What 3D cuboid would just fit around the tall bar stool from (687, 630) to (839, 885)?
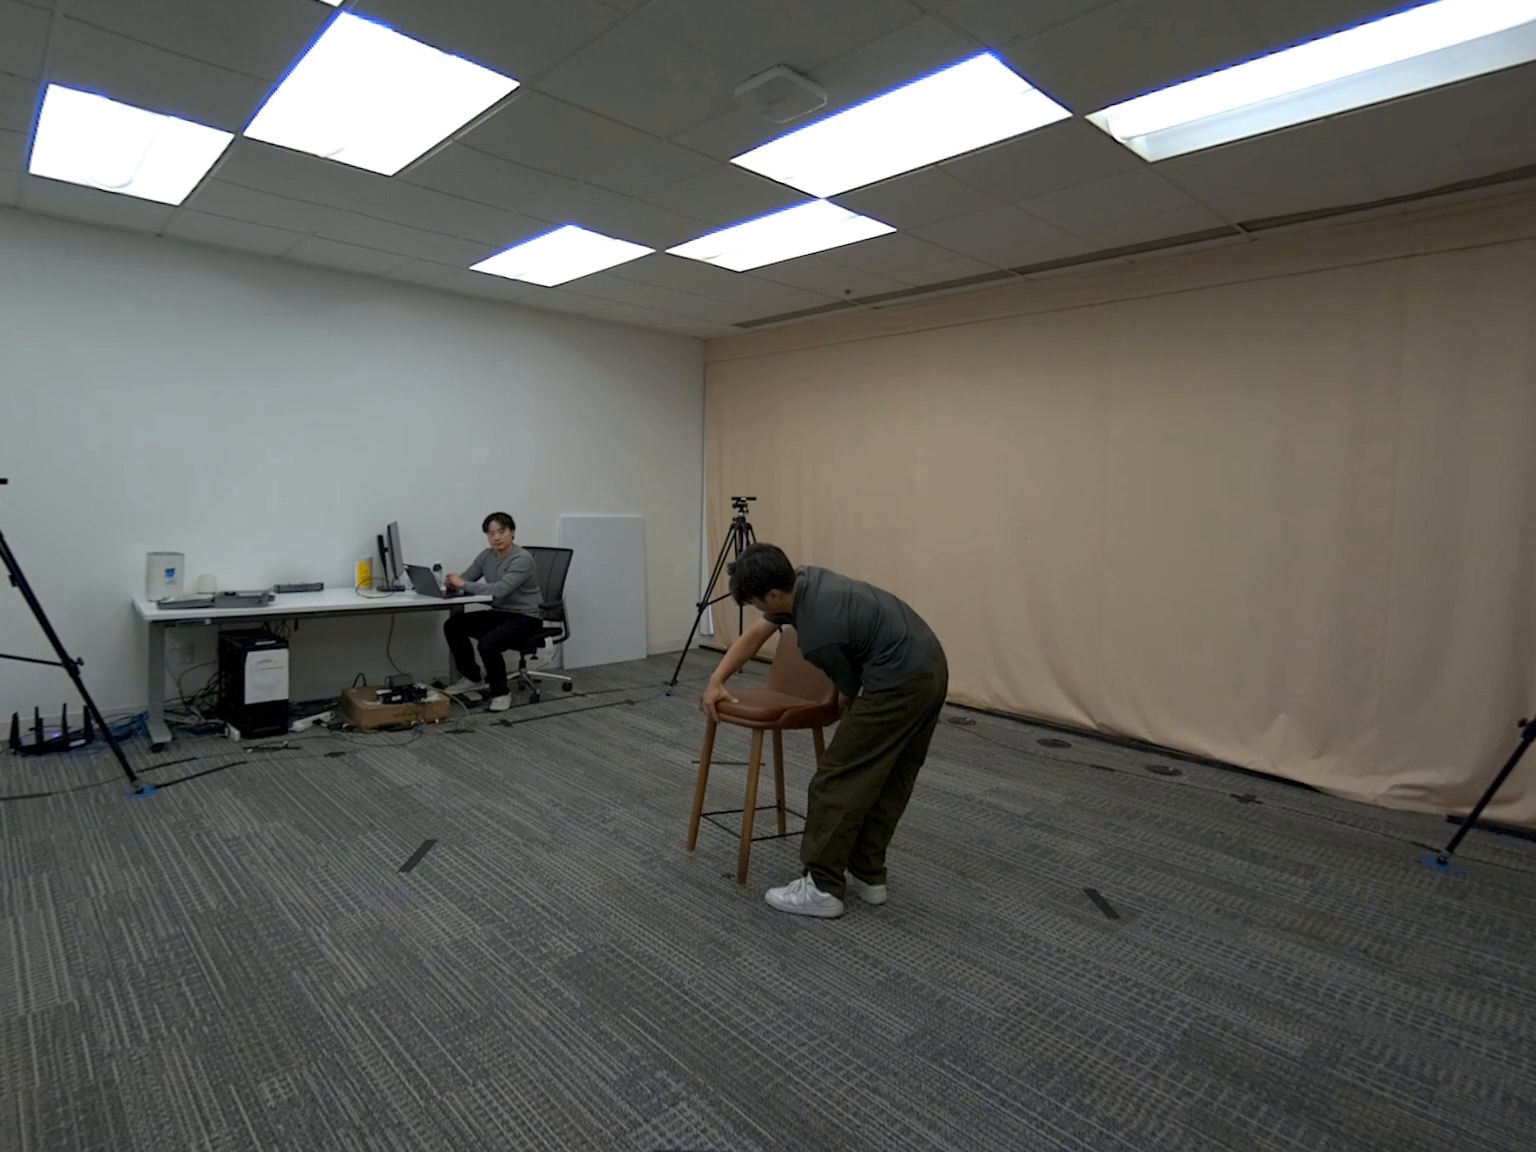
[{"bbox_3d":[-0.010,0.642,3.223,0.457,0.891,0.466,5,-2,-32],"label":"tall bar stool"}]
